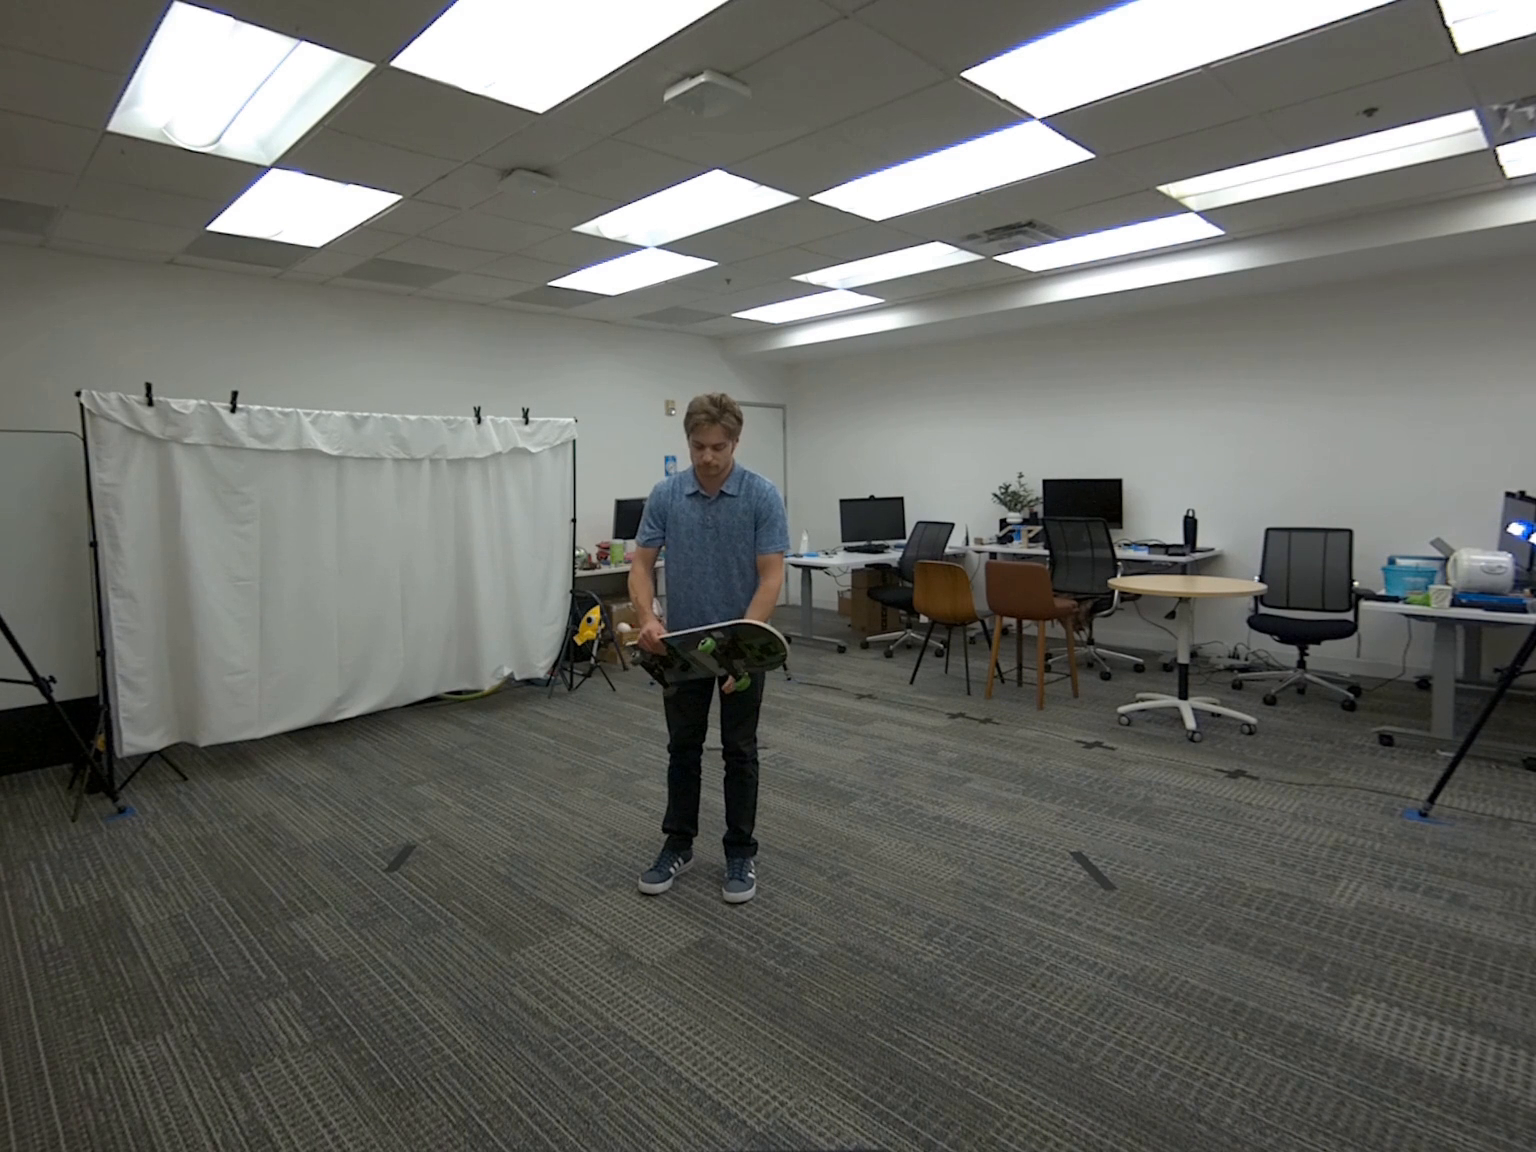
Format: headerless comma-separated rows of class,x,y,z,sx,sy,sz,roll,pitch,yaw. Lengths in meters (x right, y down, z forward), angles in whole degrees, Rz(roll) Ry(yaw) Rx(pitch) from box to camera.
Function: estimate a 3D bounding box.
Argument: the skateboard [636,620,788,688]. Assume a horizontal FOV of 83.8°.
skateboard,-0.225,0.270,2.586,0.800,0.189,0.110,-15,29,52
